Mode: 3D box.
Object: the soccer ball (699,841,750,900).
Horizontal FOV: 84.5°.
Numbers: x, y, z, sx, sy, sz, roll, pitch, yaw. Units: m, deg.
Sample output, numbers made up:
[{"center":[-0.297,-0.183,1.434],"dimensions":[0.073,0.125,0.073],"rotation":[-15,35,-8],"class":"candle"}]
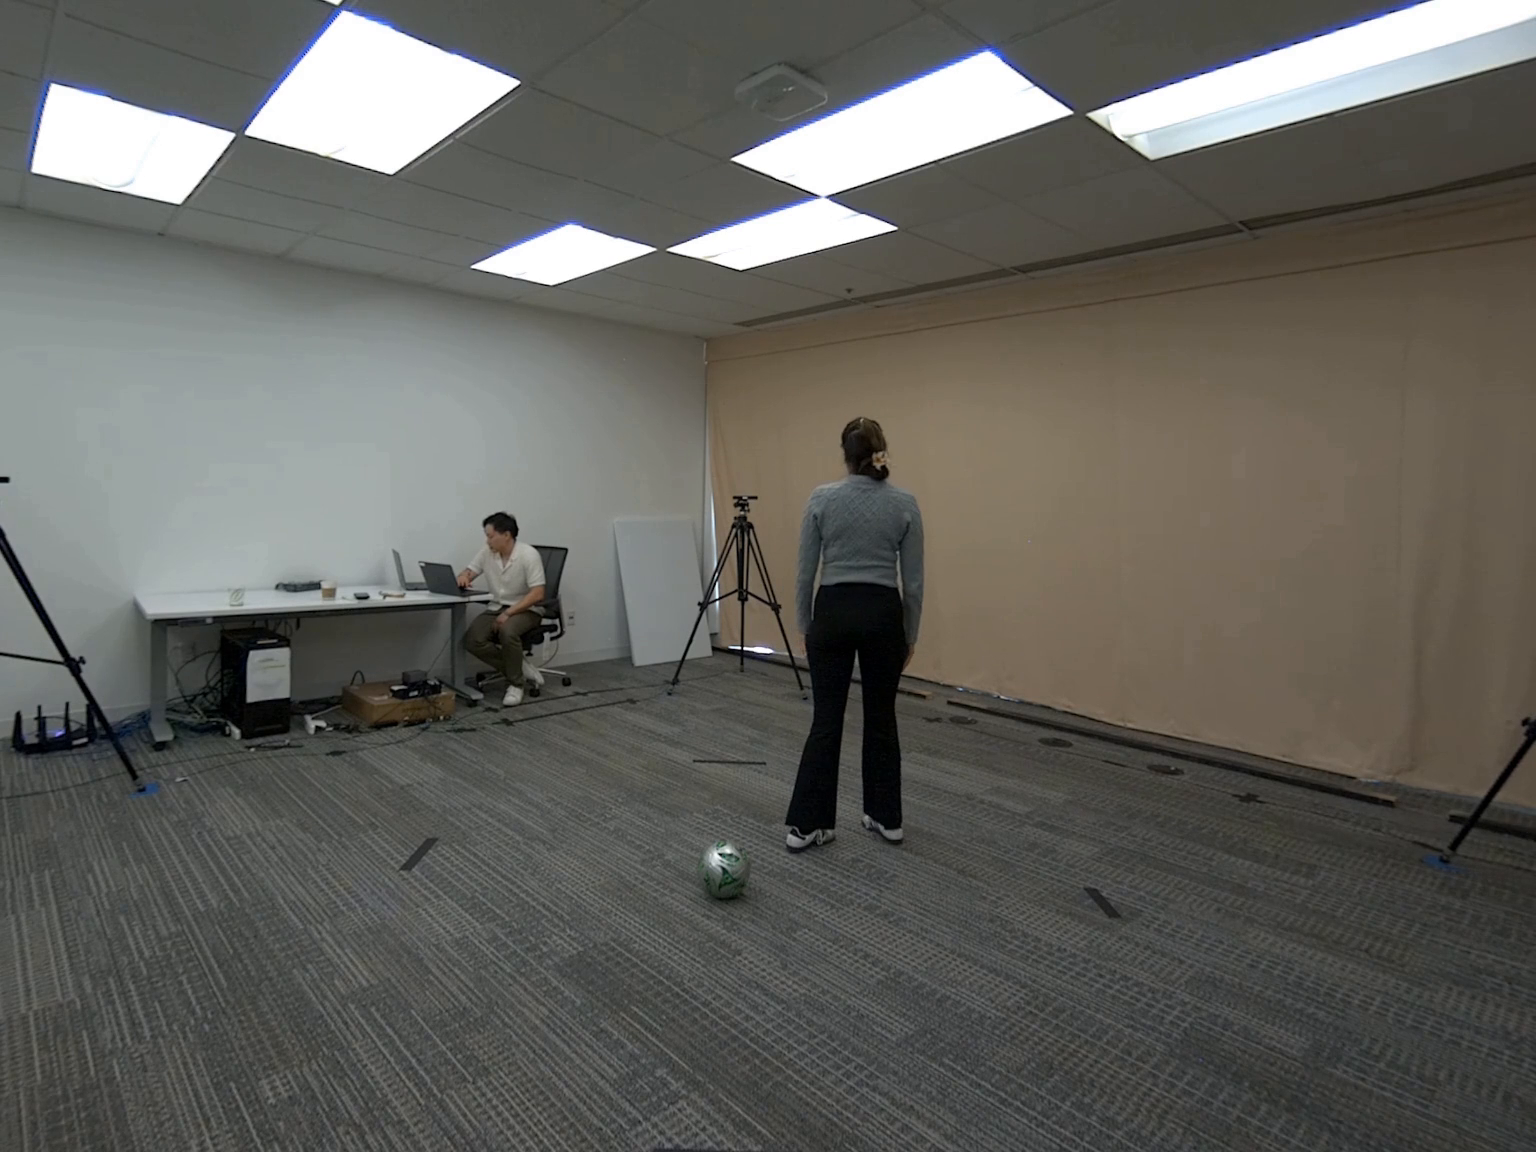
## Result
[{"center":[-0.164,1.024,2.938],"dimensions":[0.187,0.187,0.188],"rotation":[1,4,-1],"class":"soccer ball"}]
